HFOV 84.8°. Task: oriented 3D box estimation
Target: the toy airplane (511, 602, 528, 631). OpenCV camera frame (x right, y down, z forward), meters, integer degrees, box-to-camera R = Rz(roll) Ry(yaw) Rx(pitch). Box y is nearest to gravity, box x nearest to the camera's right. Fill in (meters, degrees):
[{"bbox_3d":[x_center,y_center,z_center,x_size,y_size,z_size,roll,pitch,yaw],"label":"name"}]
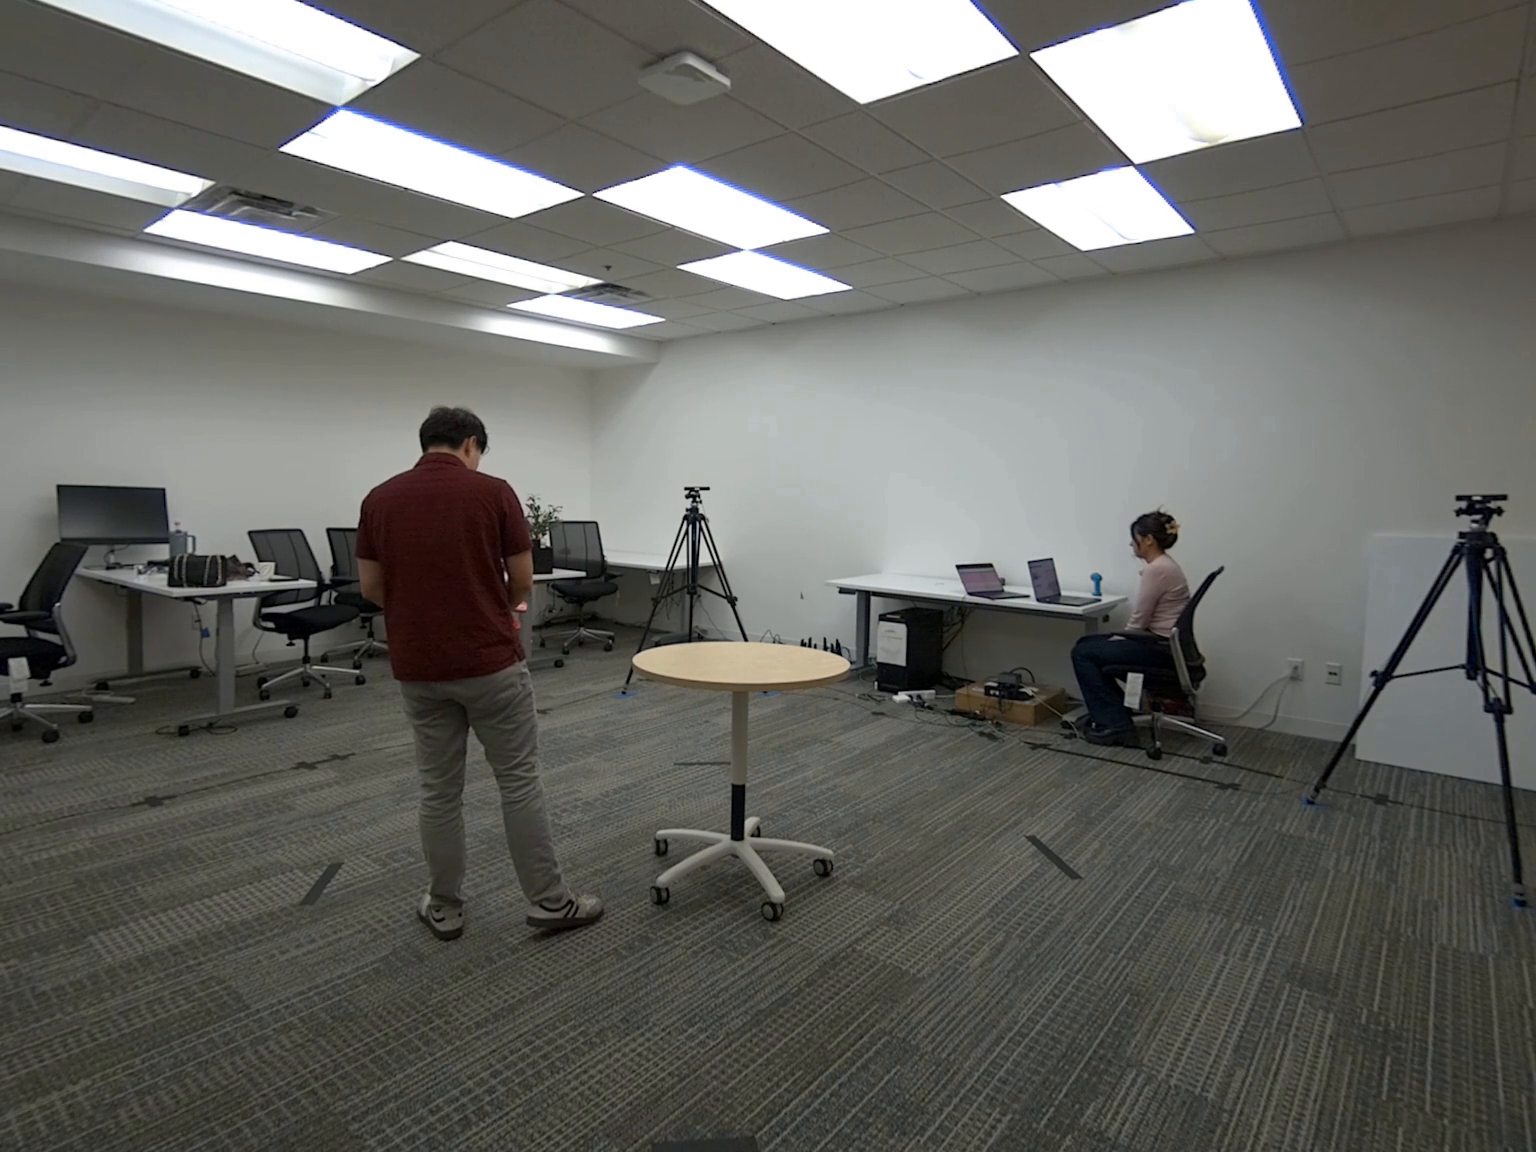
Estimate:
[{"bbox_3d":[-0.973,0.148,2.945,0.270,0.156,0.242,25,9,38],"label":"toy airplane"}]
